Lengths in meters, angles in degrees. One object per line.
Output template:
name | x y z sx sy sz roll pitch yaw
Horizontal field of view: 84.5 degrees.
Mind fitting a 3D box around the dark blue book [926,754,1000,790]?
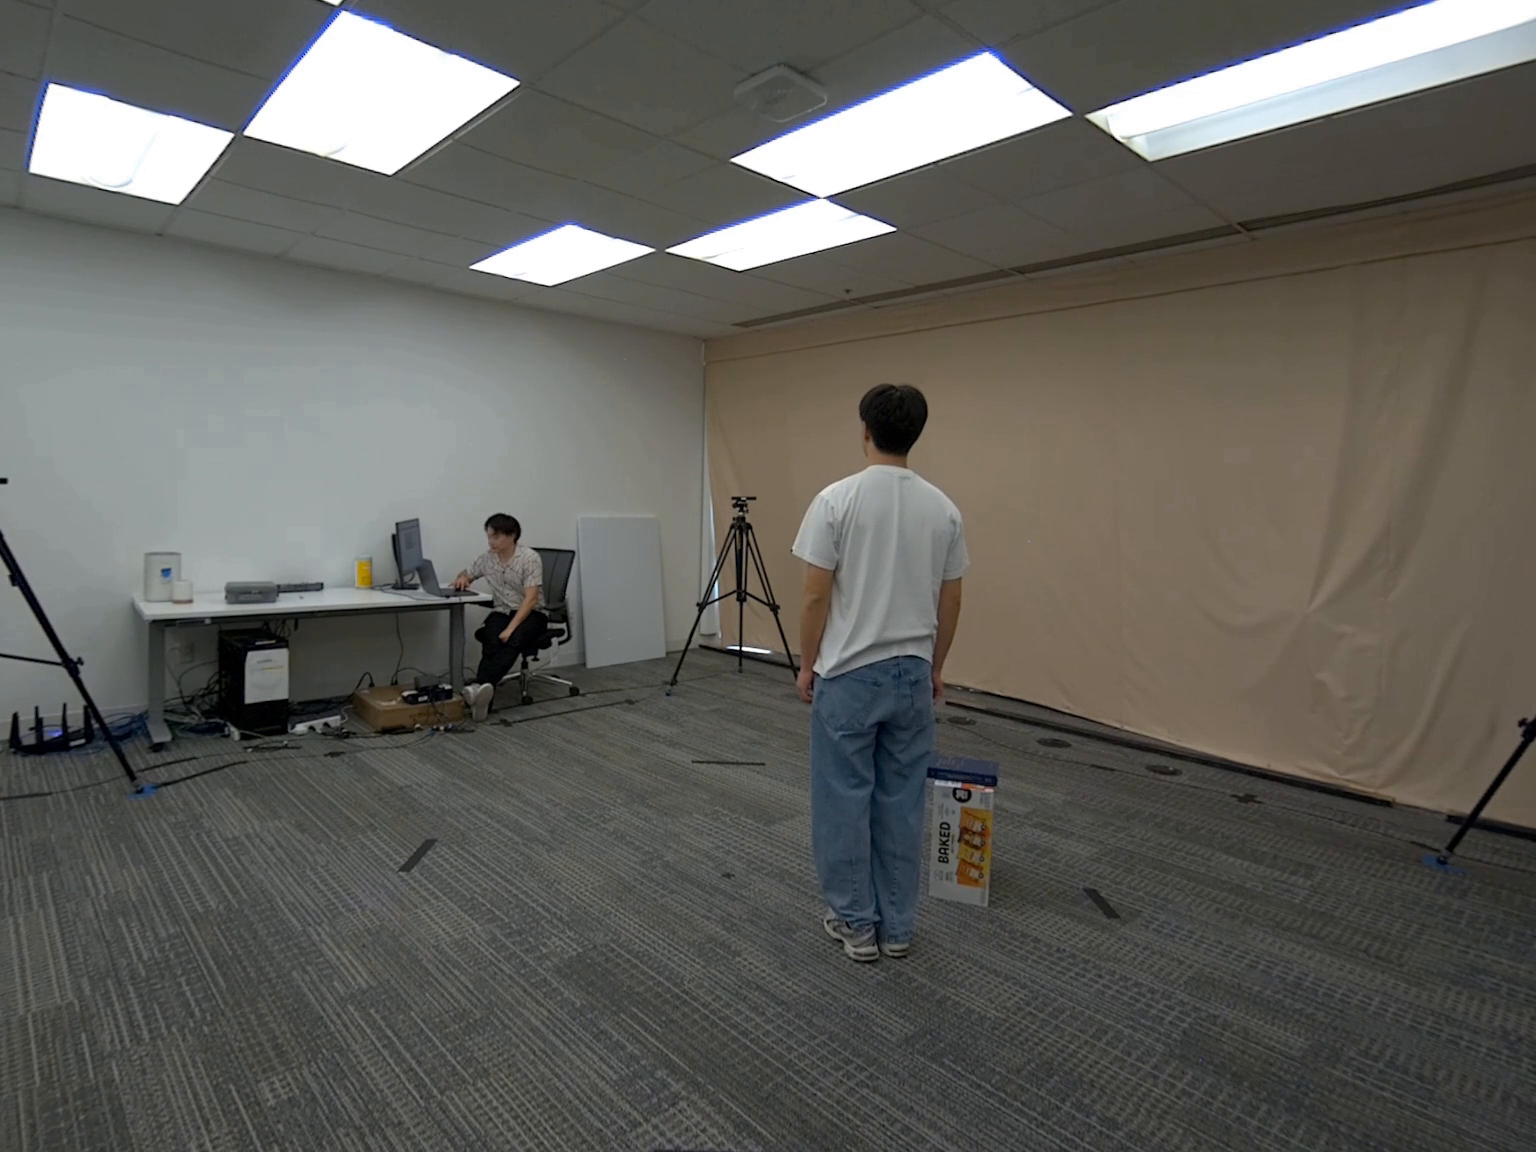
dark blue book | 0.704 0.706 3.061 0.249 0.045 0.161 3 4 19
